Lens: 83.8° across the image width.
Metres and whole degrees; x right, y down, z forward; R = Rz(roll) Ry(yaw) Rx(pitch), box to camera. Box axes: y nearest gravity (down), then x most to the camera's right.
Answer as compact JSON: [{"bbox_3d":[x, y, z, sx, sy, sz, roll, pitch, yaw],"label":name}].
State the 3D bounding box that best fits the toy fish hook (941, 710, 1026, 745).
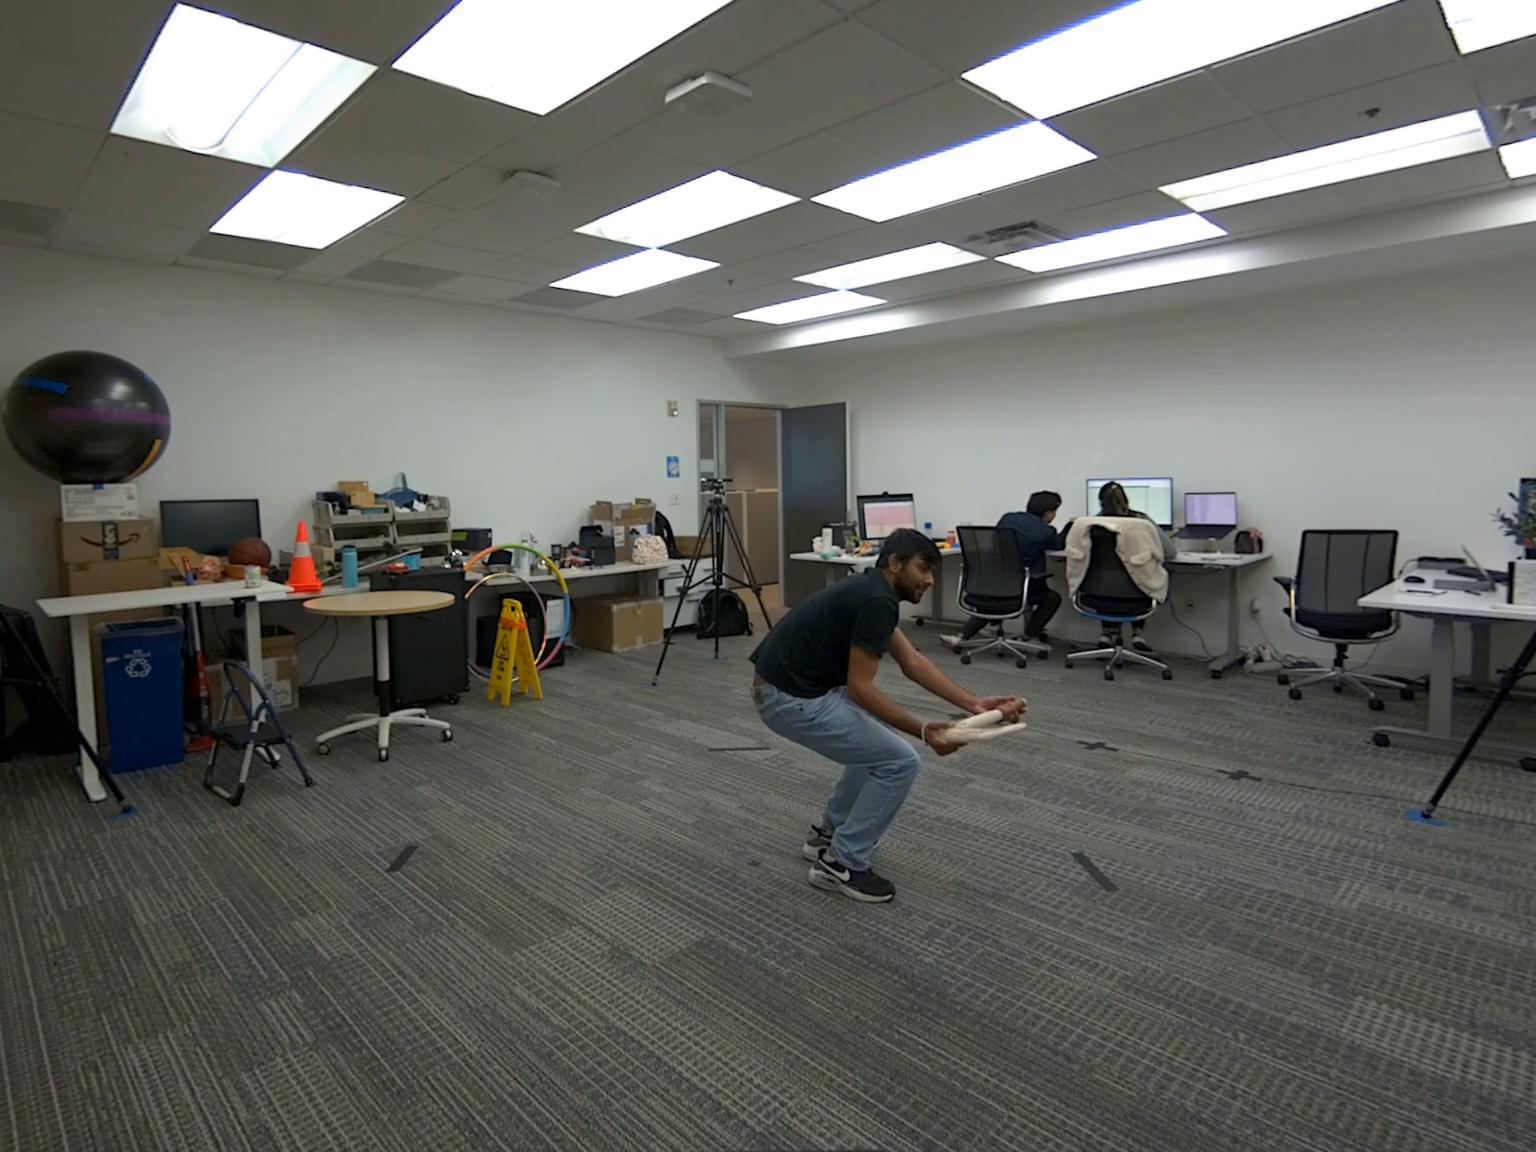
[{"bbox_3d":[0.743,0.452,2.652,0.230,0.048,0.494,-7,2,42],"label":"toy fish hook"}]
